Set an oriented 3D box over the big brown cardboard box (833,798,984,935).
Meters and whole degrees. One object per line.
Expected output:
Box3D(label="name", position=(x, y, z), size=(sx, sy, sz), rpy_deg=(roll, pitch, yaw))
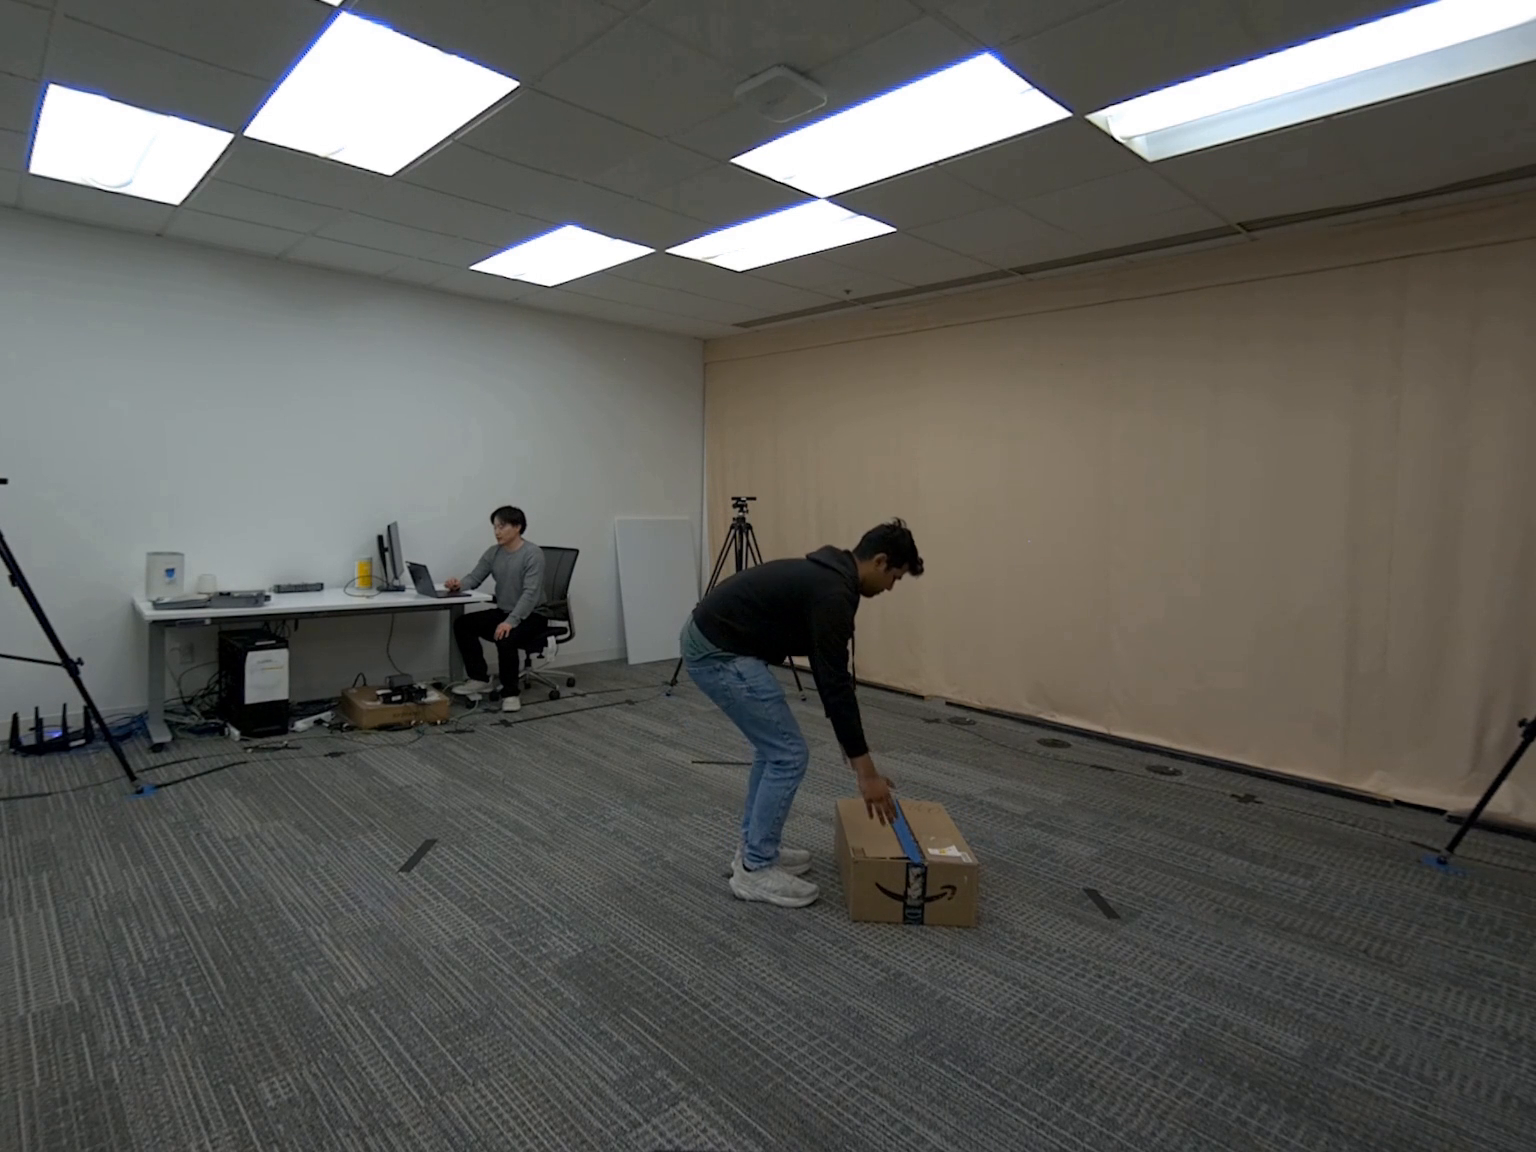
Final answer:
Box3D(label="big brown cardboard box", position=(0.477, 1.018, 3.041), size=(0.418, 0.232, 0.590), rpy_deg=(1, 4, -1))
